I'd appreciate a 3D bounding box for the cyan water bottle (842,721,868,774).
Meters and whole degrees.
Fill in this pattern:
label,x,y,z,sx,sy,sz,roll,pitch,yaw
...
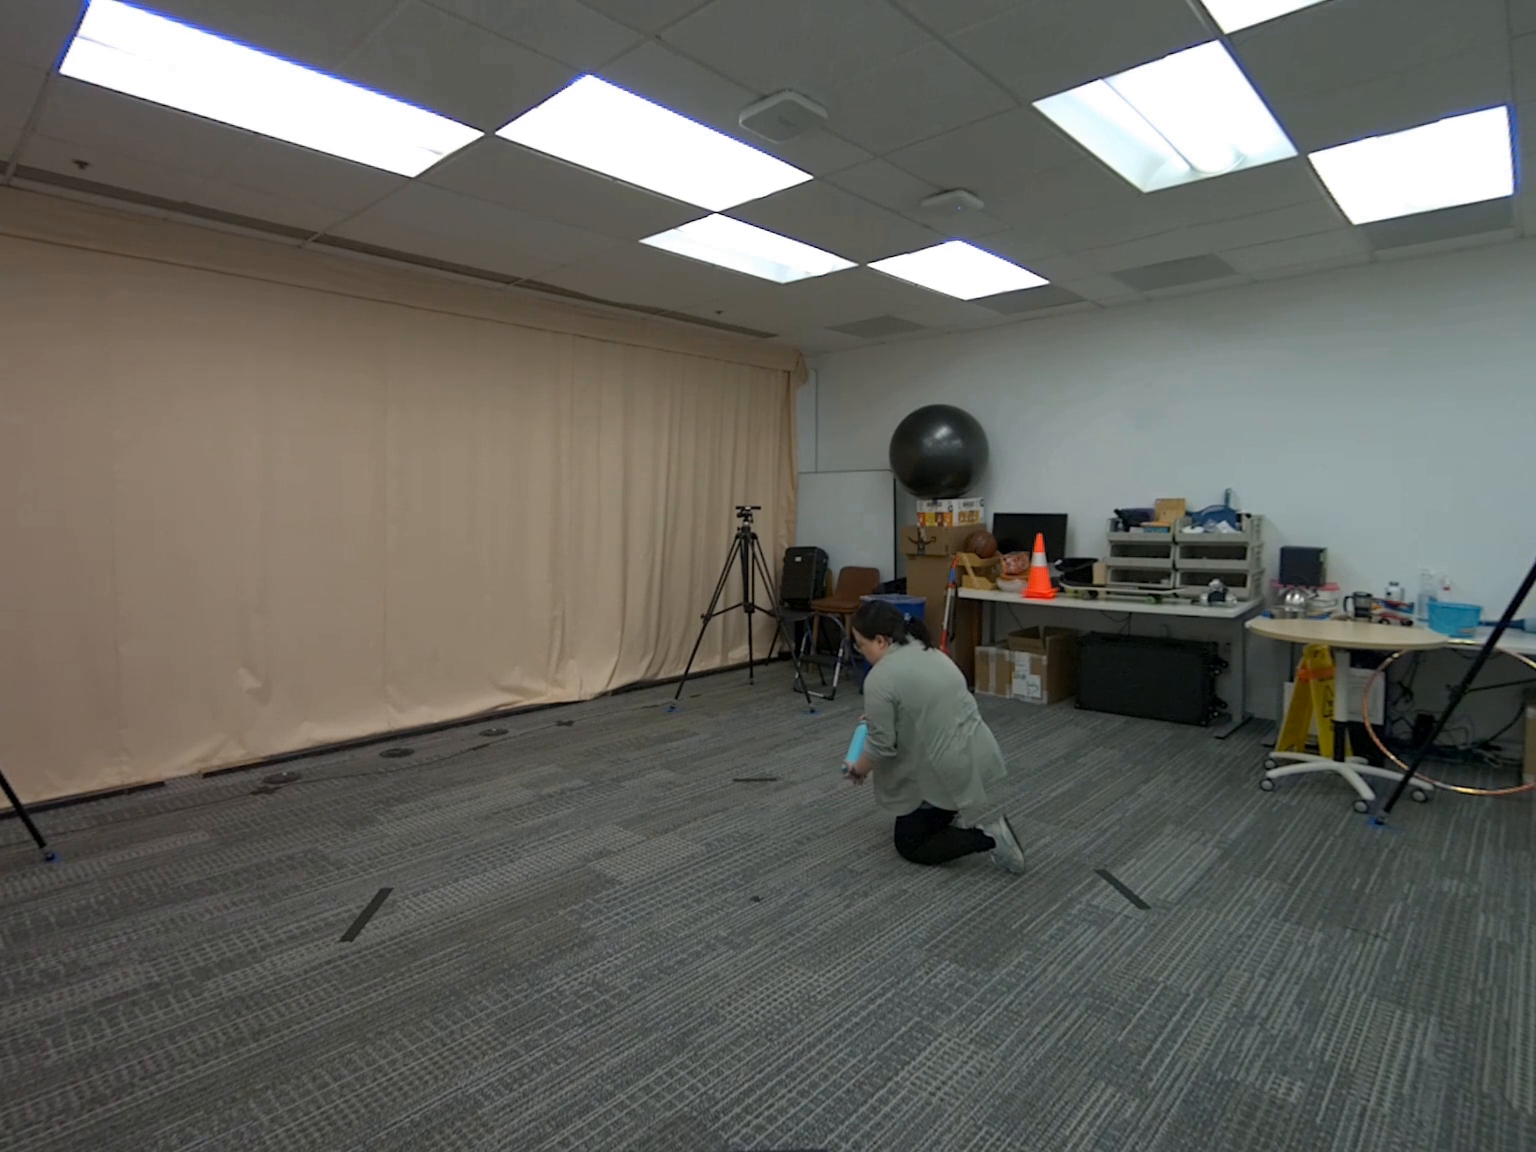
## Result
label,x,y,z,sx,sy,sz,roll,pitch,yaw
cyan water bottle,0.411,0.720,3.515,0.095,0.090,0.283,2,44,32
